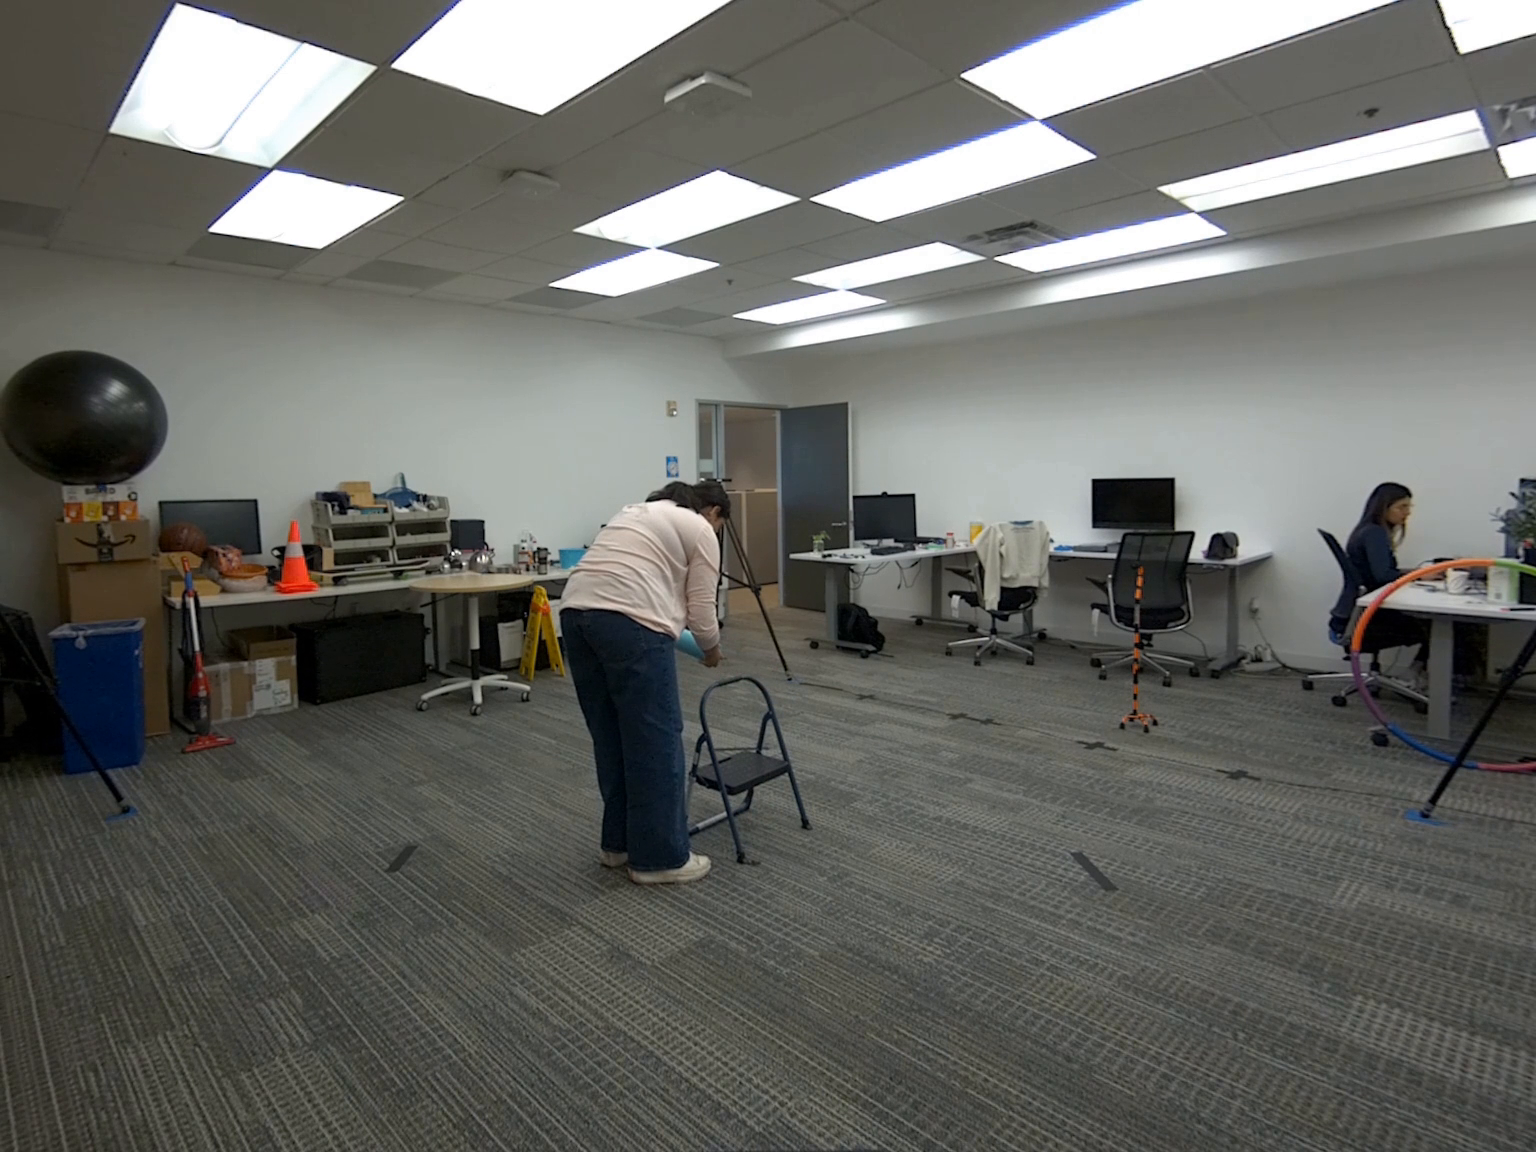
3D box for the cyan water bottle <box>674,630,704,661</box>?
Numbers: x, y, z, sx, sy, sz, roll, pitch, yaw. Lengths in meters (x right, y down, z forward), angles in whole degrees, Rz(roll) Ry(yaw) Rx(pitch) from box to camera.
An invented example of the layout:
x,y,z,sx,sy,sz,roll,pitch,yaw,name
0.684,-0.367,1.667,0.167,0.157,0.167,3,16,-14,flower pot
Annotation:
x,y,z,sx,sy,sz,roll,pitch,yaw,name
-0.324,0.269,3.432,0.292,0.091,0.090,18,13,28,cyan water bottle
